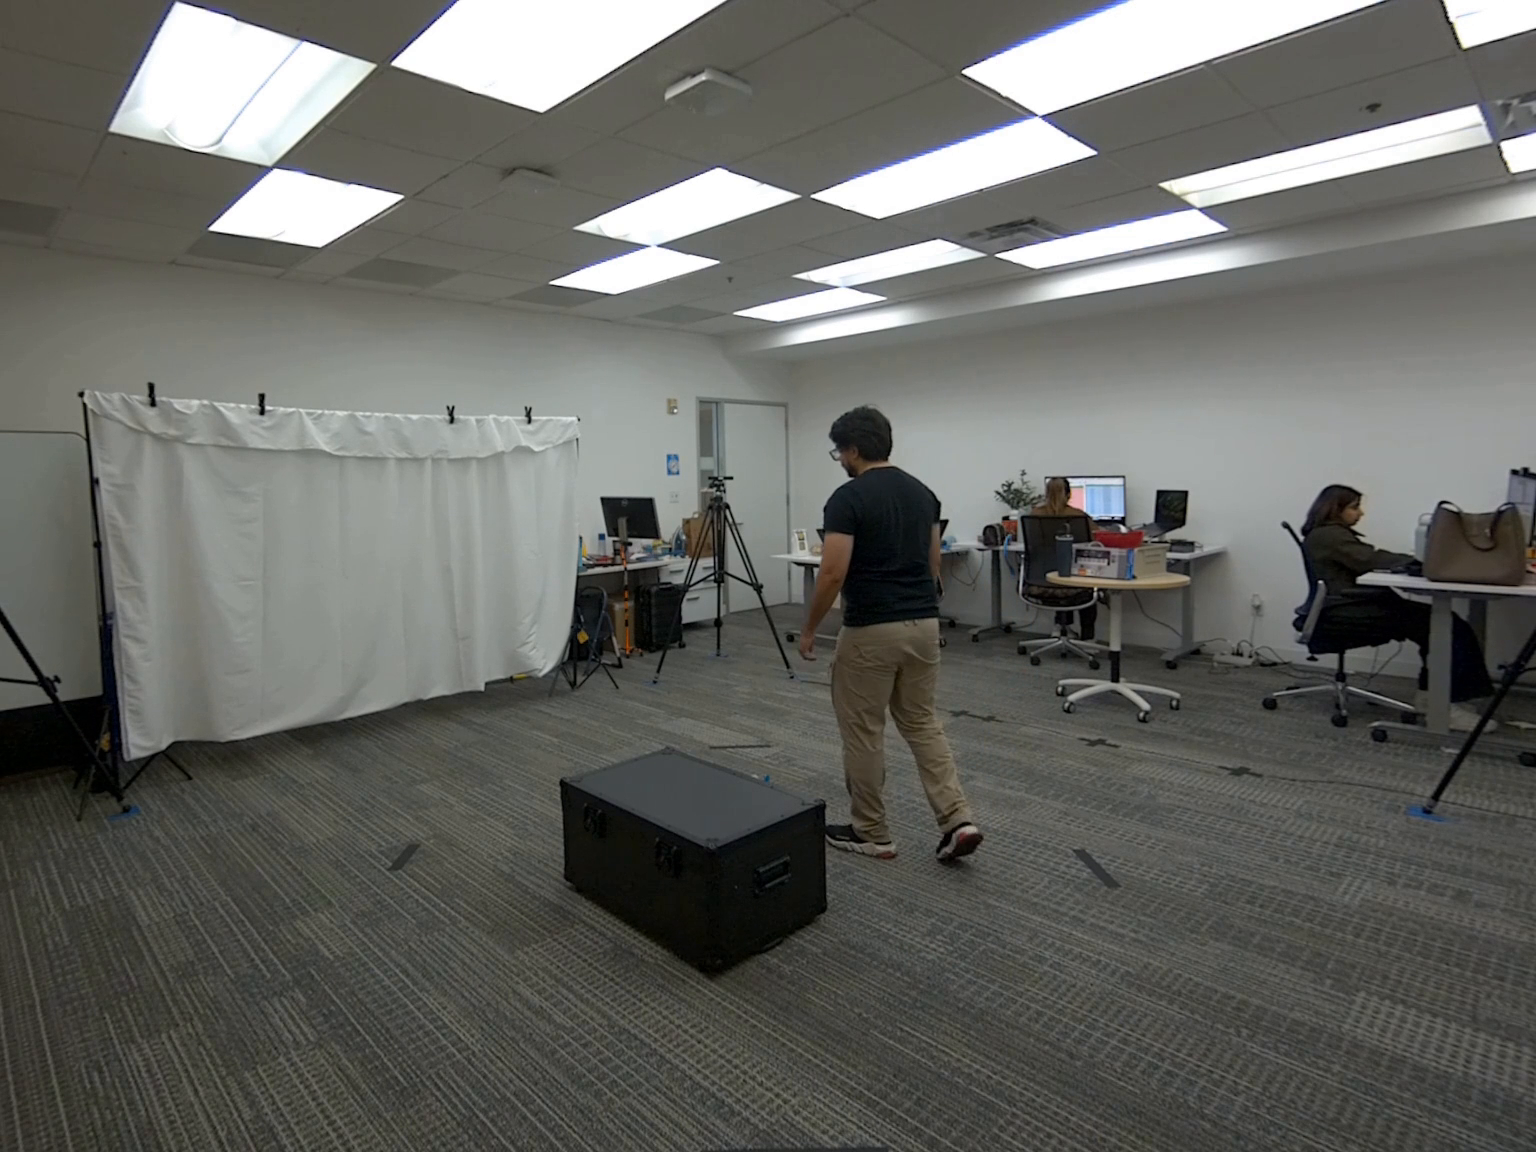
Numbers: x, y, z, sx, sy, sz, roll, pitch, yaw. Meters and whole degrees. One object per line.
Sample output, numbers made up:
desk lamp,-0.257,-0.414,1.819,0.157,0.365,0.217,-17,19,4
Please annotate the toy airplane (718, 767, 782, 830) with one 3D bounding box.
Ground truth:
toy airplane,-0.073,0.912,3.543,0.252,0.155,0.260,0,7,1
